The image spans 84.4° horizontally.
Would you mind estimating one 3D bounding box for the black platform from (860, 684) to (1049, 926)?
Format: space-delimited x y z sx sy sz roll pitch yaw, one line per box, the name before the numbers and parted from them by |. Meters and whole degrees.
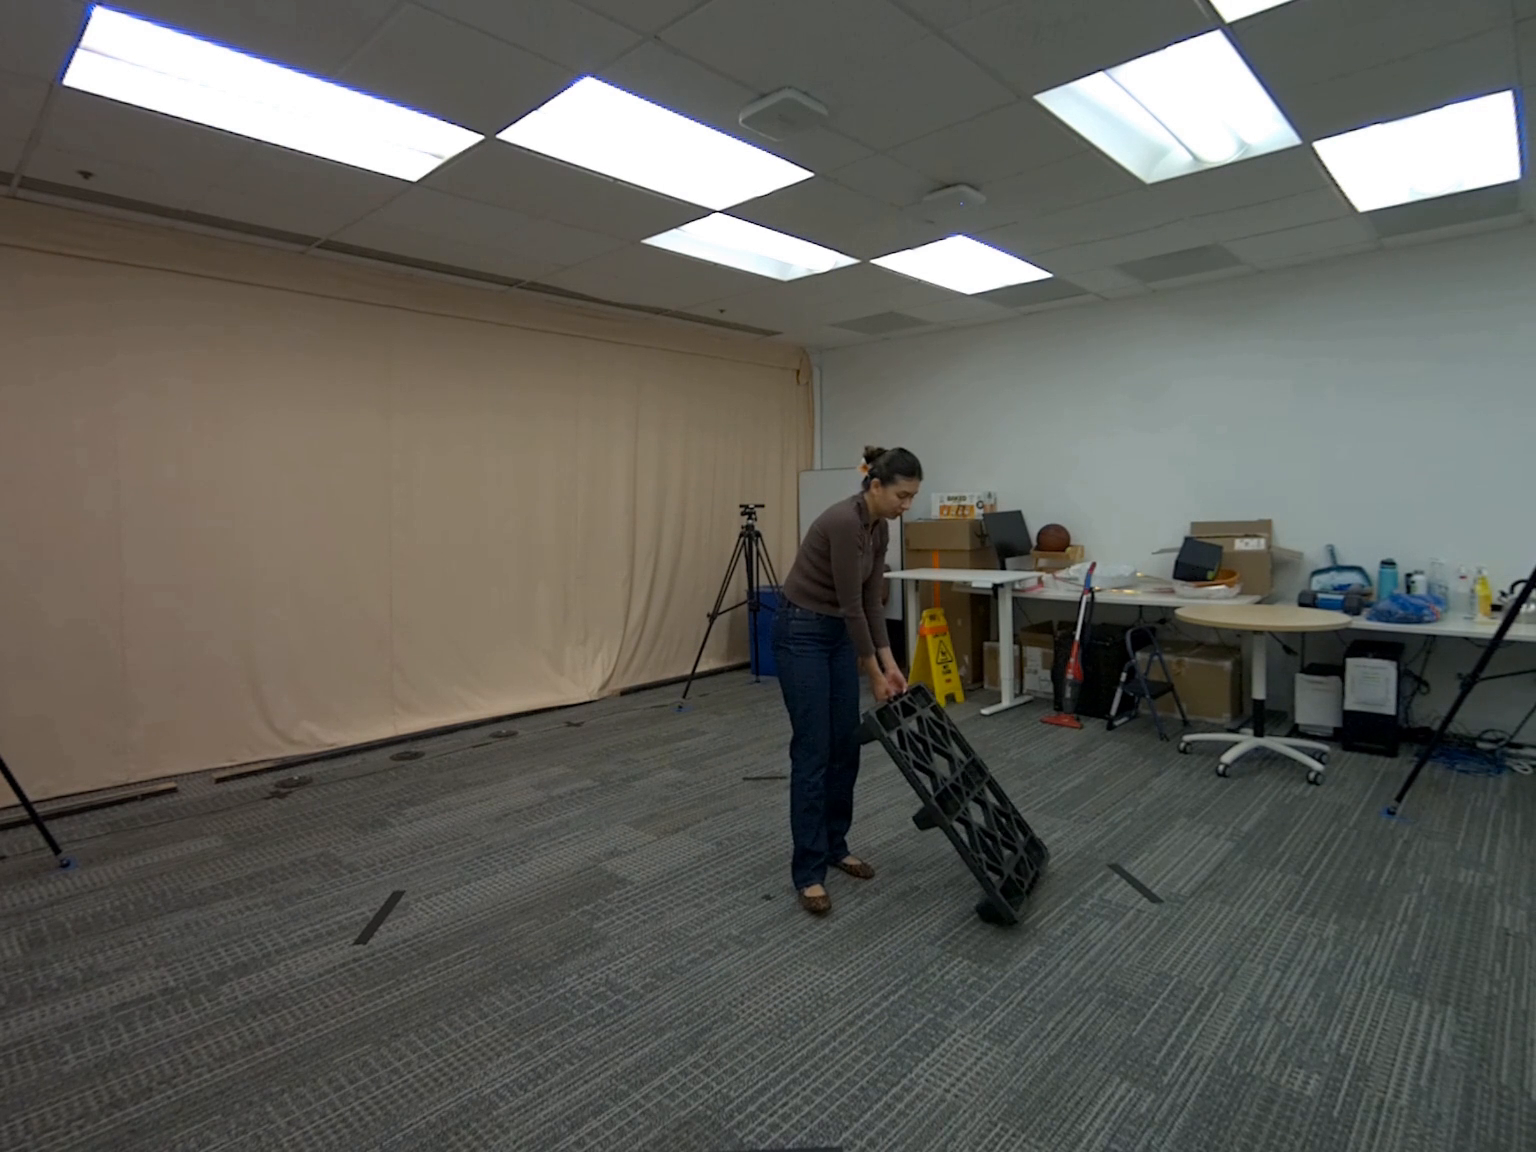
black platform | 0.664 0.792 3.048 0.144 0.820 0.590 -42 -17 23
